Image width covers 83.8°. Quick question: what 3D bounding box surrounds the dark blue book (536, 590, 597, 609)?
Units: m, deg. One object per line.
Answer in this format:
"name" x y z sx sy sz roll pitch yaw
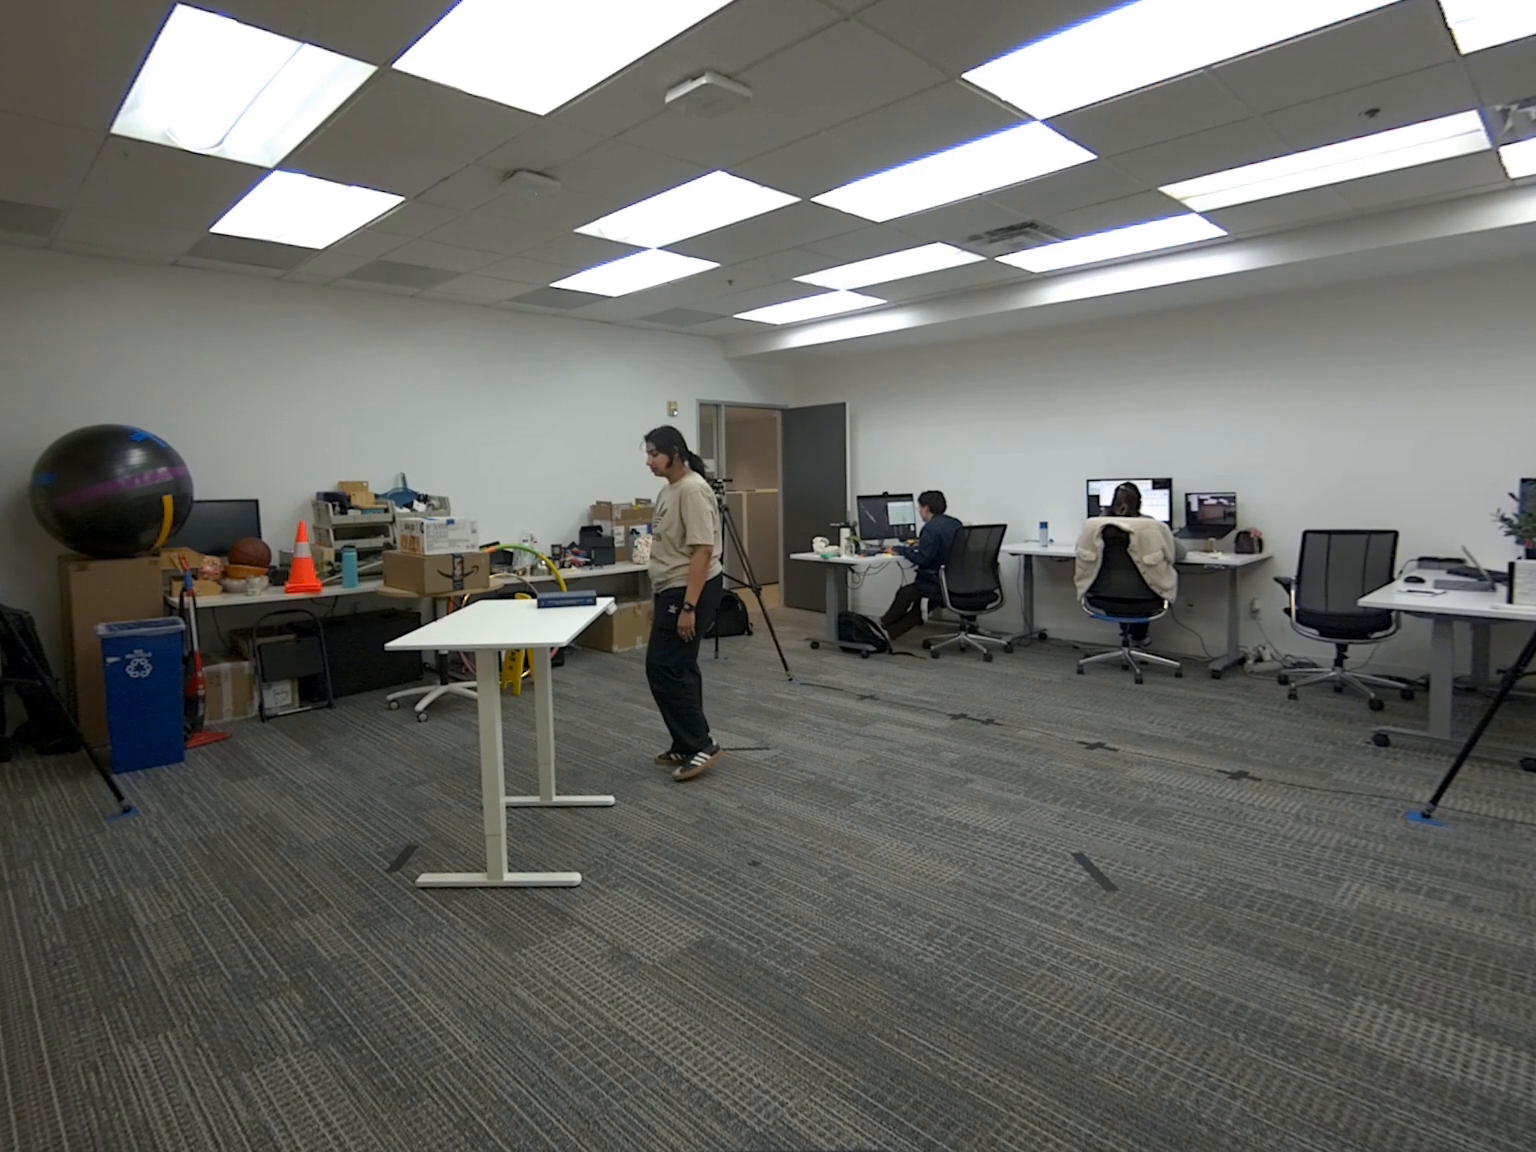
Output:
"dark blue book" -0.854 0.099 3.610 0.242 0.045 0.166 -4 7 -11
